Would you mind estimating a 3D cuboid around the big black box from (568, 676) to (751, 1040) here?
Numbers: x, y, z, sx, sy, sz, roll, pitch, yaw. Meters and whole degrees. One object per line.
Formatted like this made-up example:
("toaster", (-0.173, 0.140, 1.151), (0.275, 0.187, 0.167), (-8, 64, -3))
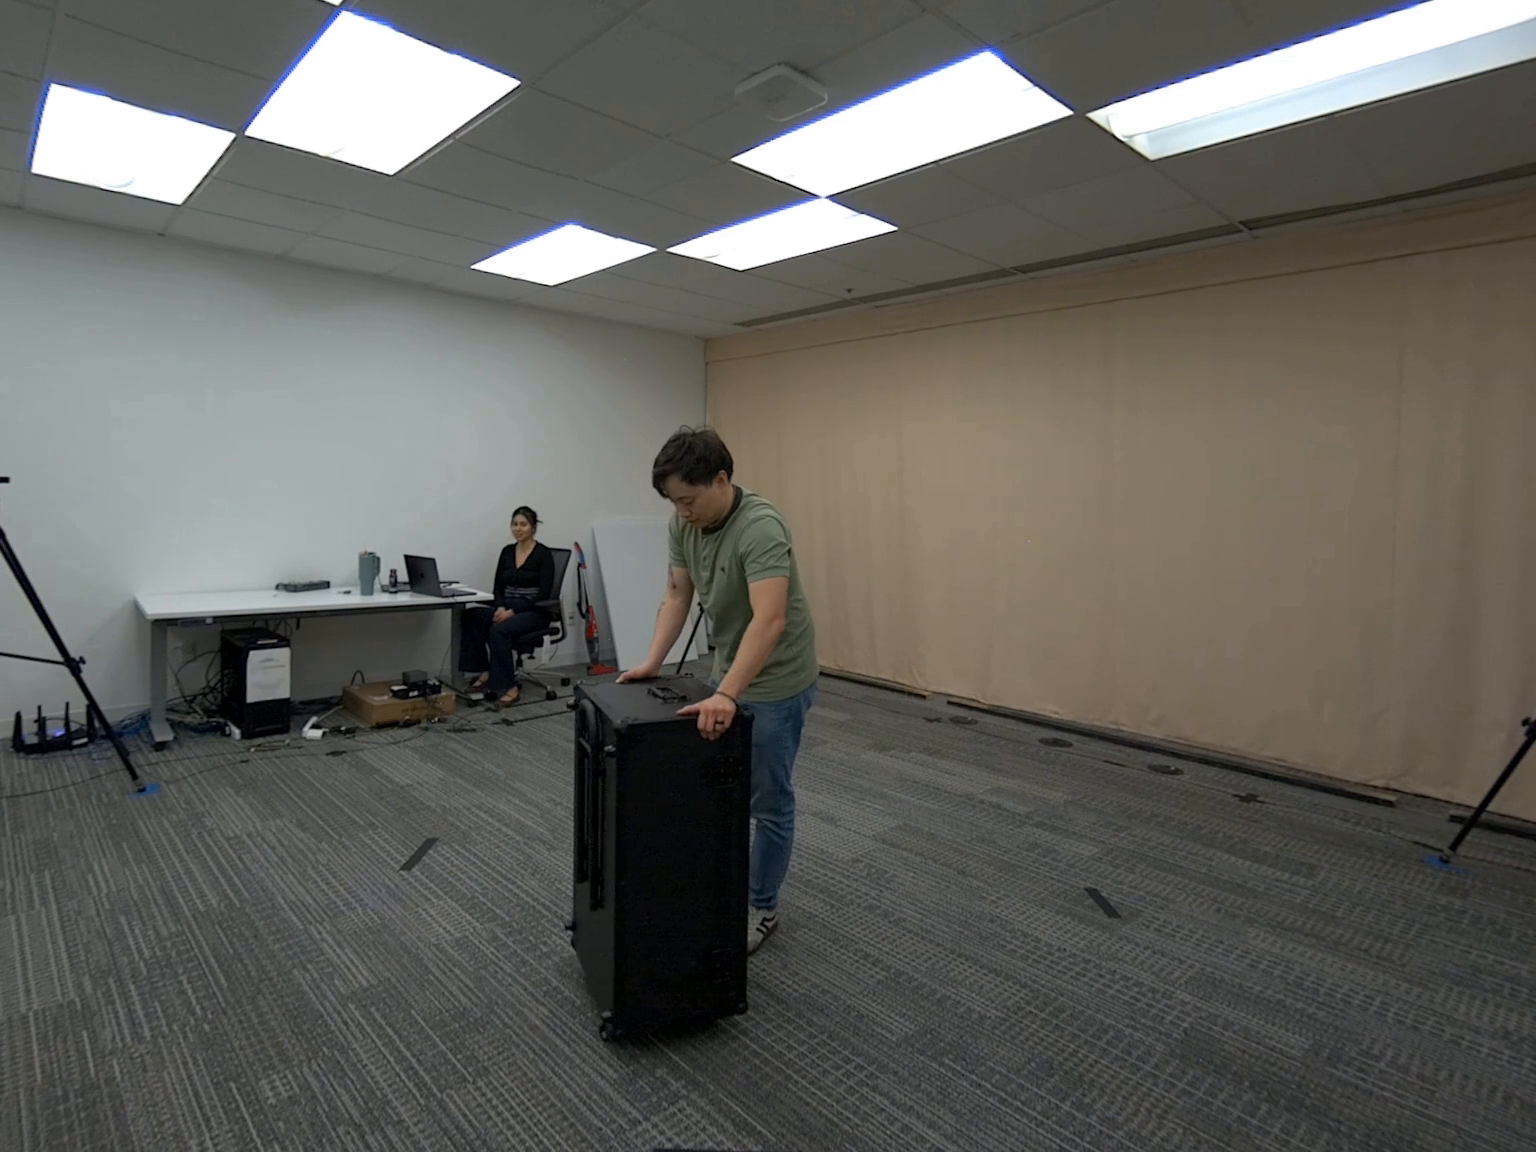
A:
("big black box", (-0.321, 0.754, 2.278), (0.390, 0.858, 0.531), (-2, 5, -22))
